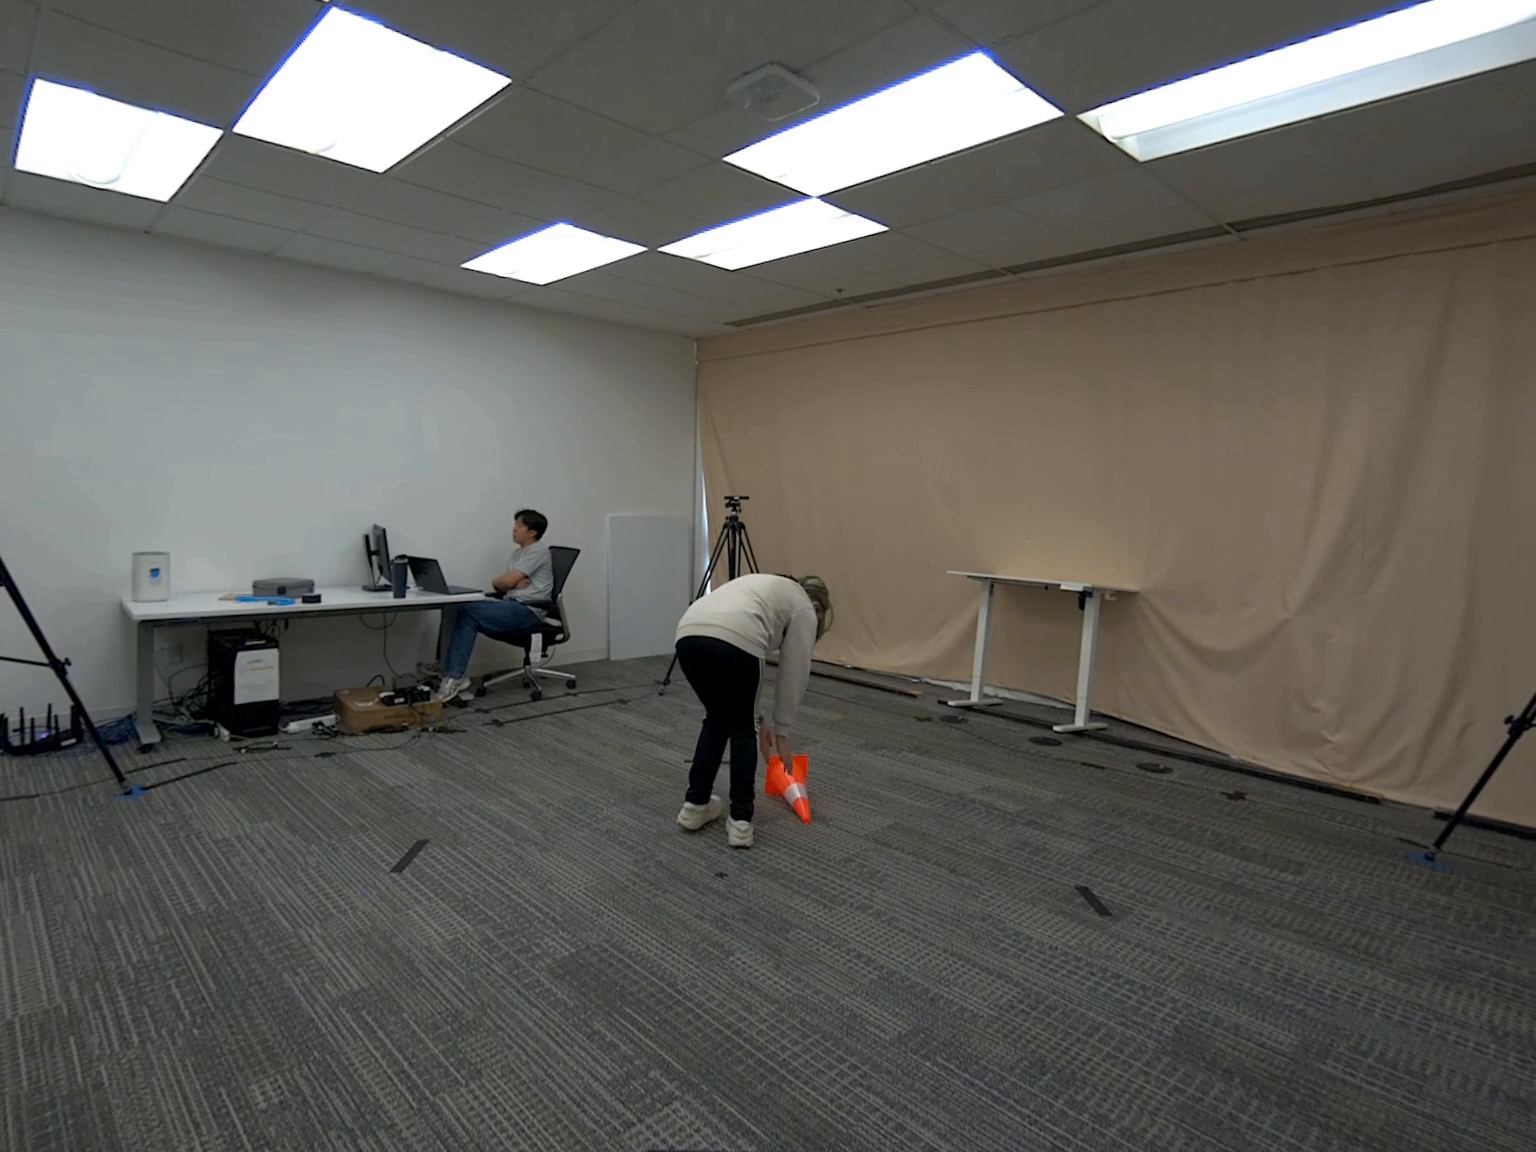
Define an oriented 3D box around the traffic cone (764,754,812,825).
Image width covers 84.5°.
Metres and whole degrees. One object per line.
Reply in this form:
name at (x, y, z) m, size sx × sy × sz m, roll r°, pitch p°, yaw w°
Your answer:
traffic cone at (0.124, 1.000, 3.799) m, size 0.203 × 0.201 × 0.391 m, roll -1°, pitch 17°, yaw -12°
